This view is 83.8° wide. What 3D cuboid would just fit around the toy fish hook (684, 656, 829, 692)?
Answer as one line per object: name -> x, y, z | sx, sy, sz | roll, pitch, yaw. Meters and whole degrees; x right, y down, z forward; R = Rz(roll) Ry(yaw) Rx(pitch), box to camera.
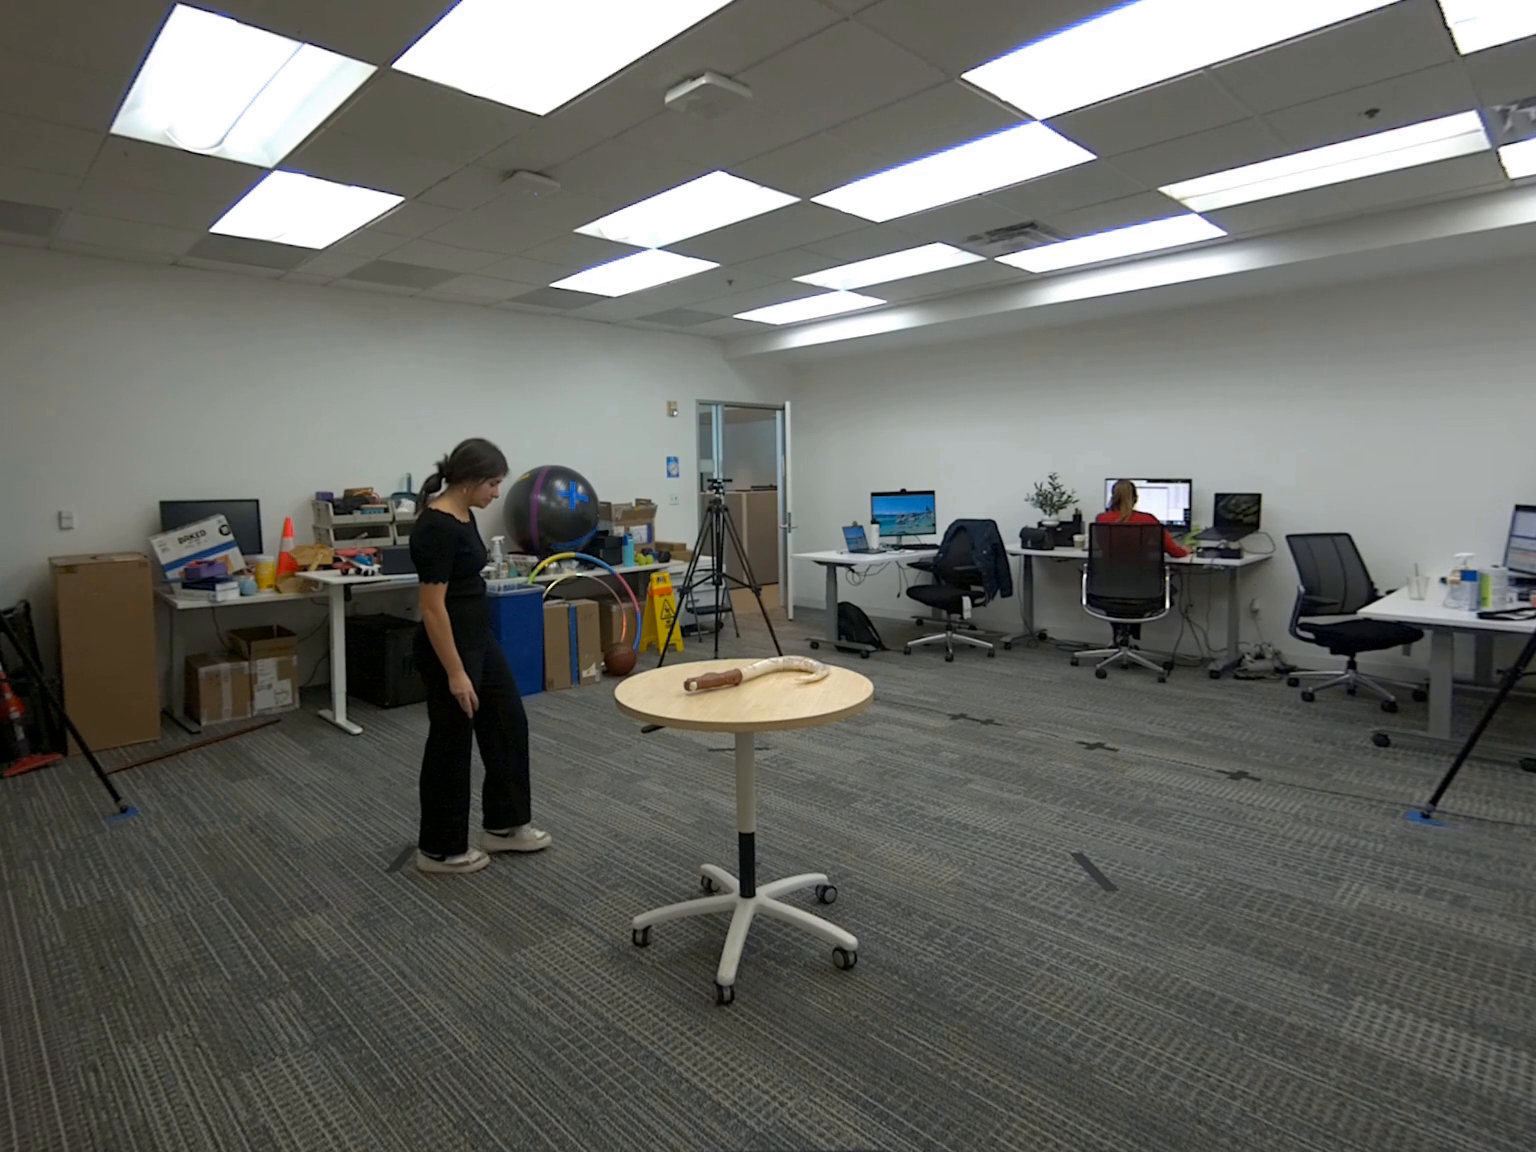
toy fish hook -> -0.018, 0.300, 2.572 | 0.493, 0.048, 0.231 | -6, 5, -40
